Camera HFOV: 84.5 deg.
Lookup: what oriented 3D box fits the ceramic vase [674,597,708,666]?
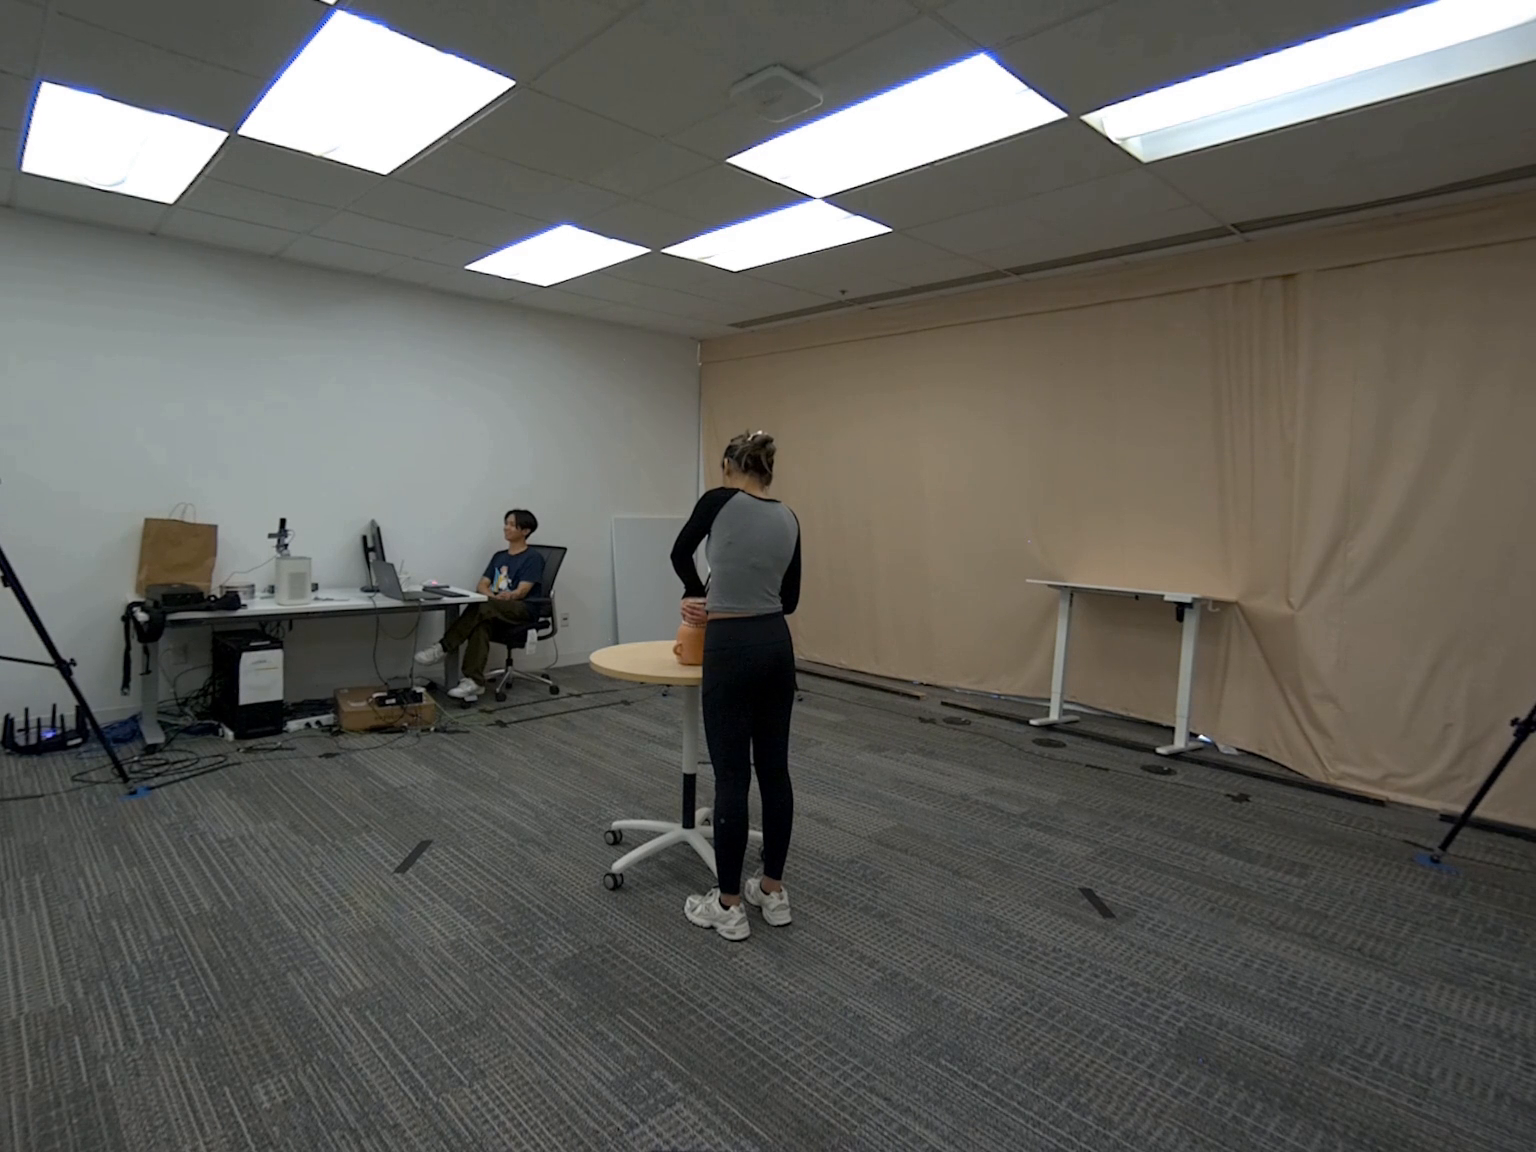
[{"bbox_3d":[-0.266,0.195,3.028,0.135,0.218,0.159,3,8,4],"label":"ceramic vase"}]
